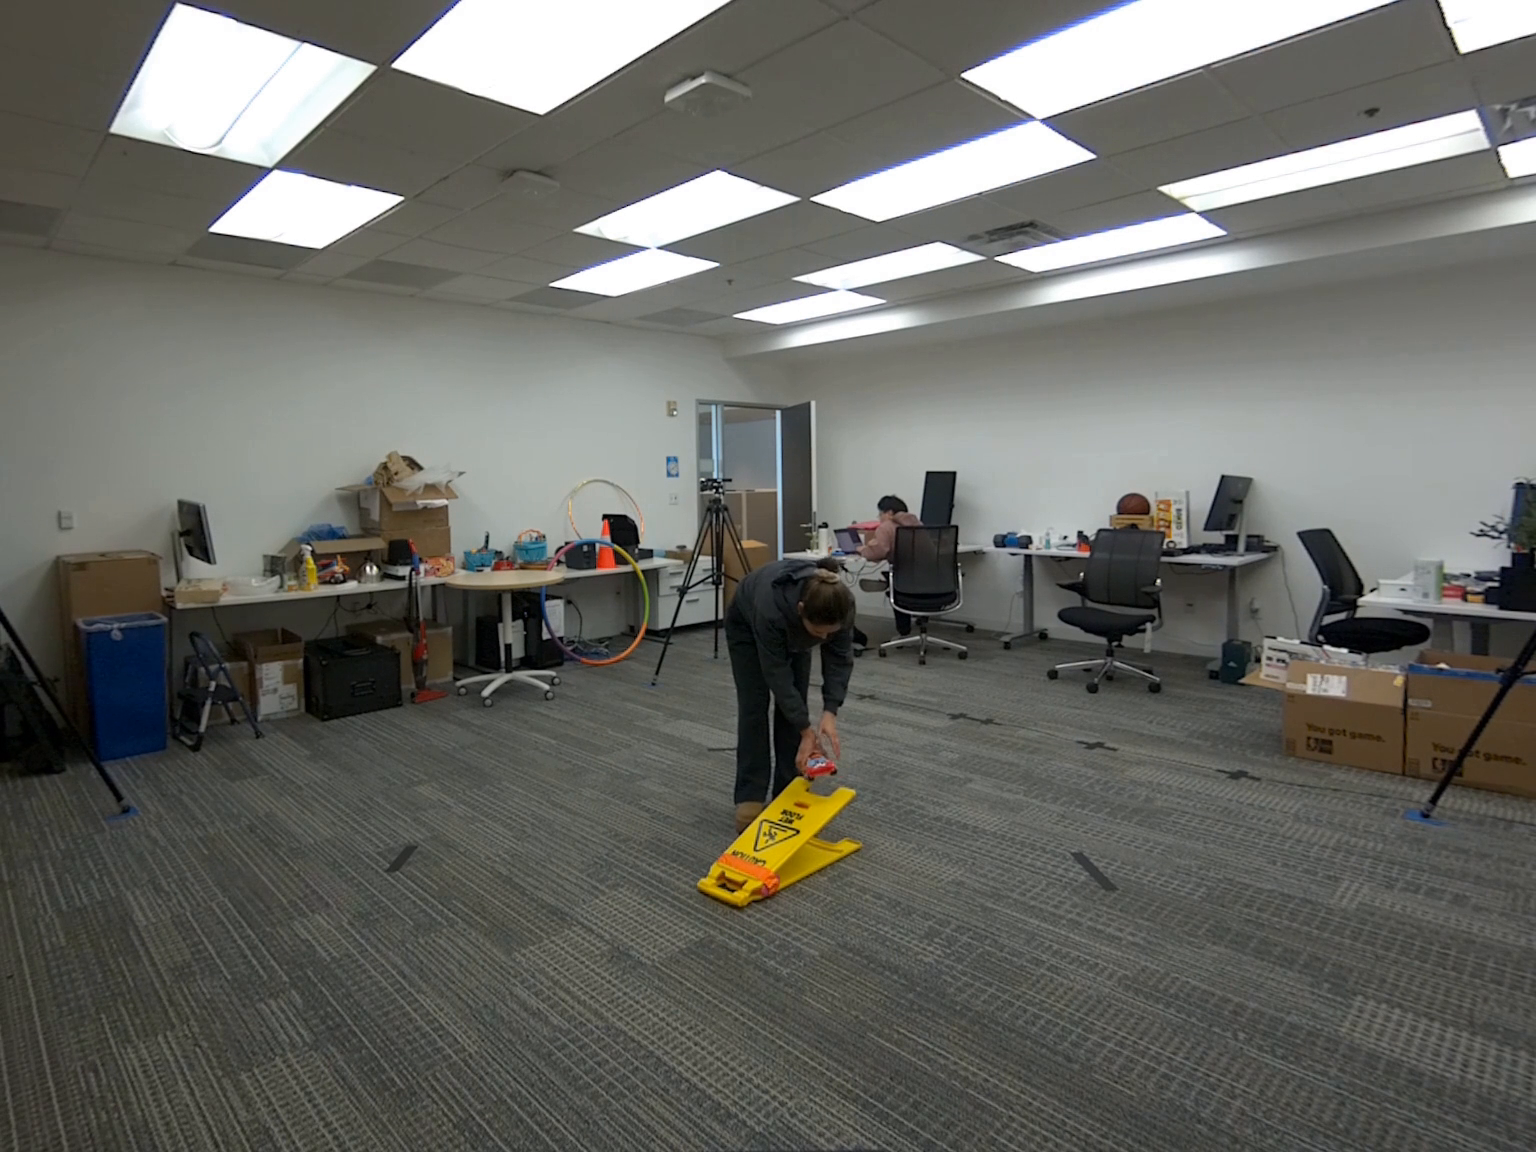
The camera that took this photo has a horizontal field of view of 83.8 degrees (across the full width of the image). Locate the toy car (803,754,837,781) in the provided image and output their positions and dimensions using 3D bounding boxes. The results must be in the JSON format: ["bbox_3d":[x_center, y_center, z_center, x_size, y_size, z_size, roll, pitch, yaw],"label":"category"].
[{"bbox_3d":[0.183,0.728,3.238,0.130,0.082,0.257,-17,8,-6],"label":"toy car"}]
